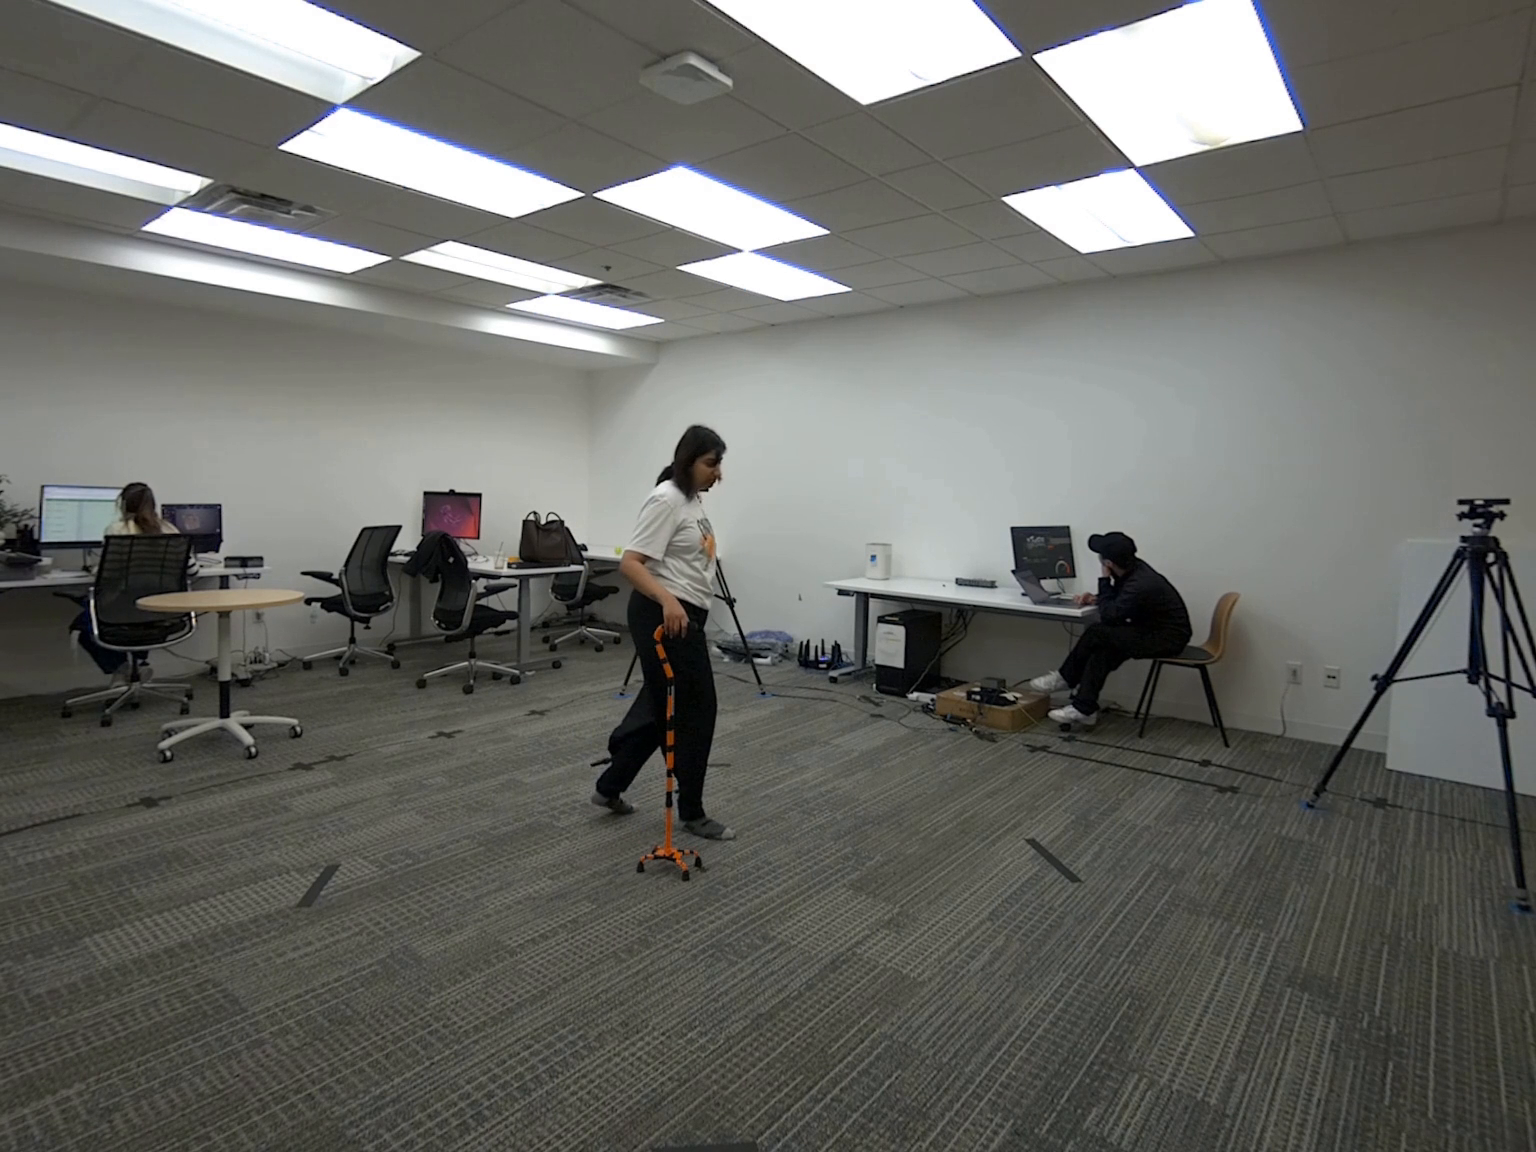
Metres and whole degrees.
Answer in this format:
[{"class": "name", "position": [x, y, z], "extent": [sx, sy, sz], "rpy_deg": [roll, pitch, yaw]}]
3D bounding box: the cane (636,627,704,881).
[{"class": "cane", "position": [-0.355, 0.613, 3.087], "extent": [0.210, 0.906, 0.149], "rpy_deg": [2, 3, 18]}]
